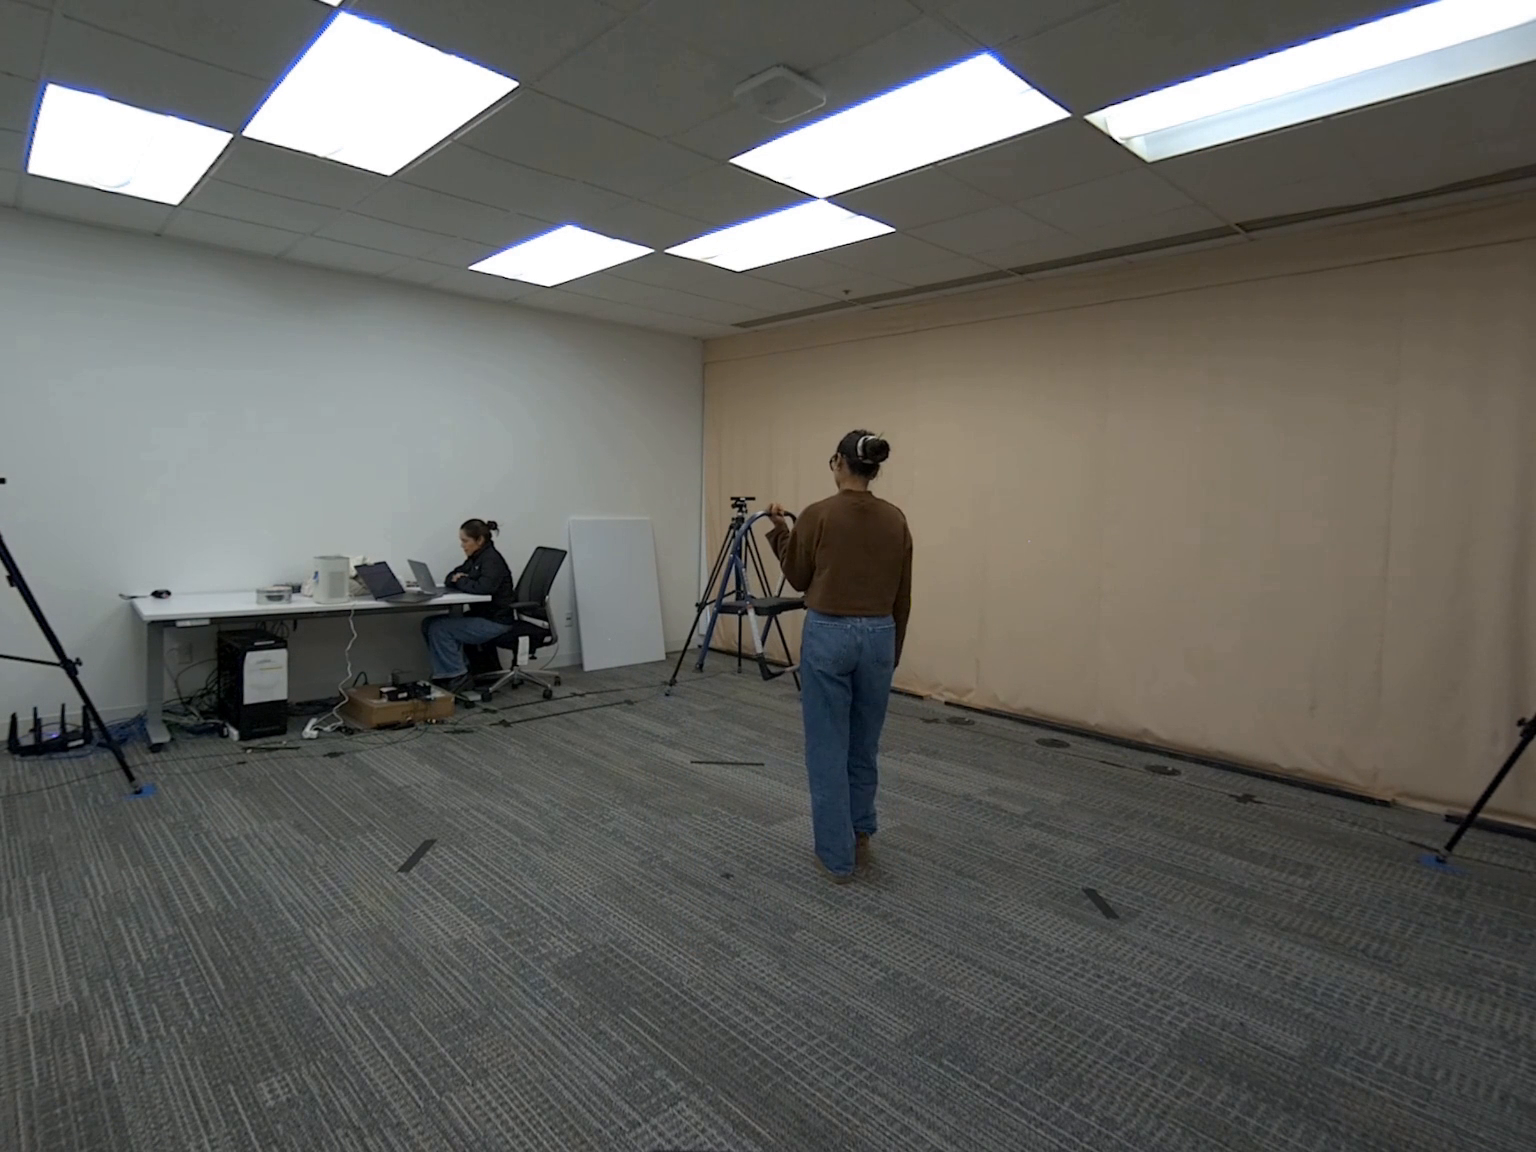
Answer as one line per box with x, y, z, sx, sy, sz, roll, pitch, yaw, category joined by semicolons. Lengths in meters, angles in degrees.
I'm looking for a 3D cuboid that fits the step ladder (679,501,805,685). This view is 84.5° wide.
-0.031;0.052;3.226;0.357;0.605;0.421;1;2;35;step ladder
